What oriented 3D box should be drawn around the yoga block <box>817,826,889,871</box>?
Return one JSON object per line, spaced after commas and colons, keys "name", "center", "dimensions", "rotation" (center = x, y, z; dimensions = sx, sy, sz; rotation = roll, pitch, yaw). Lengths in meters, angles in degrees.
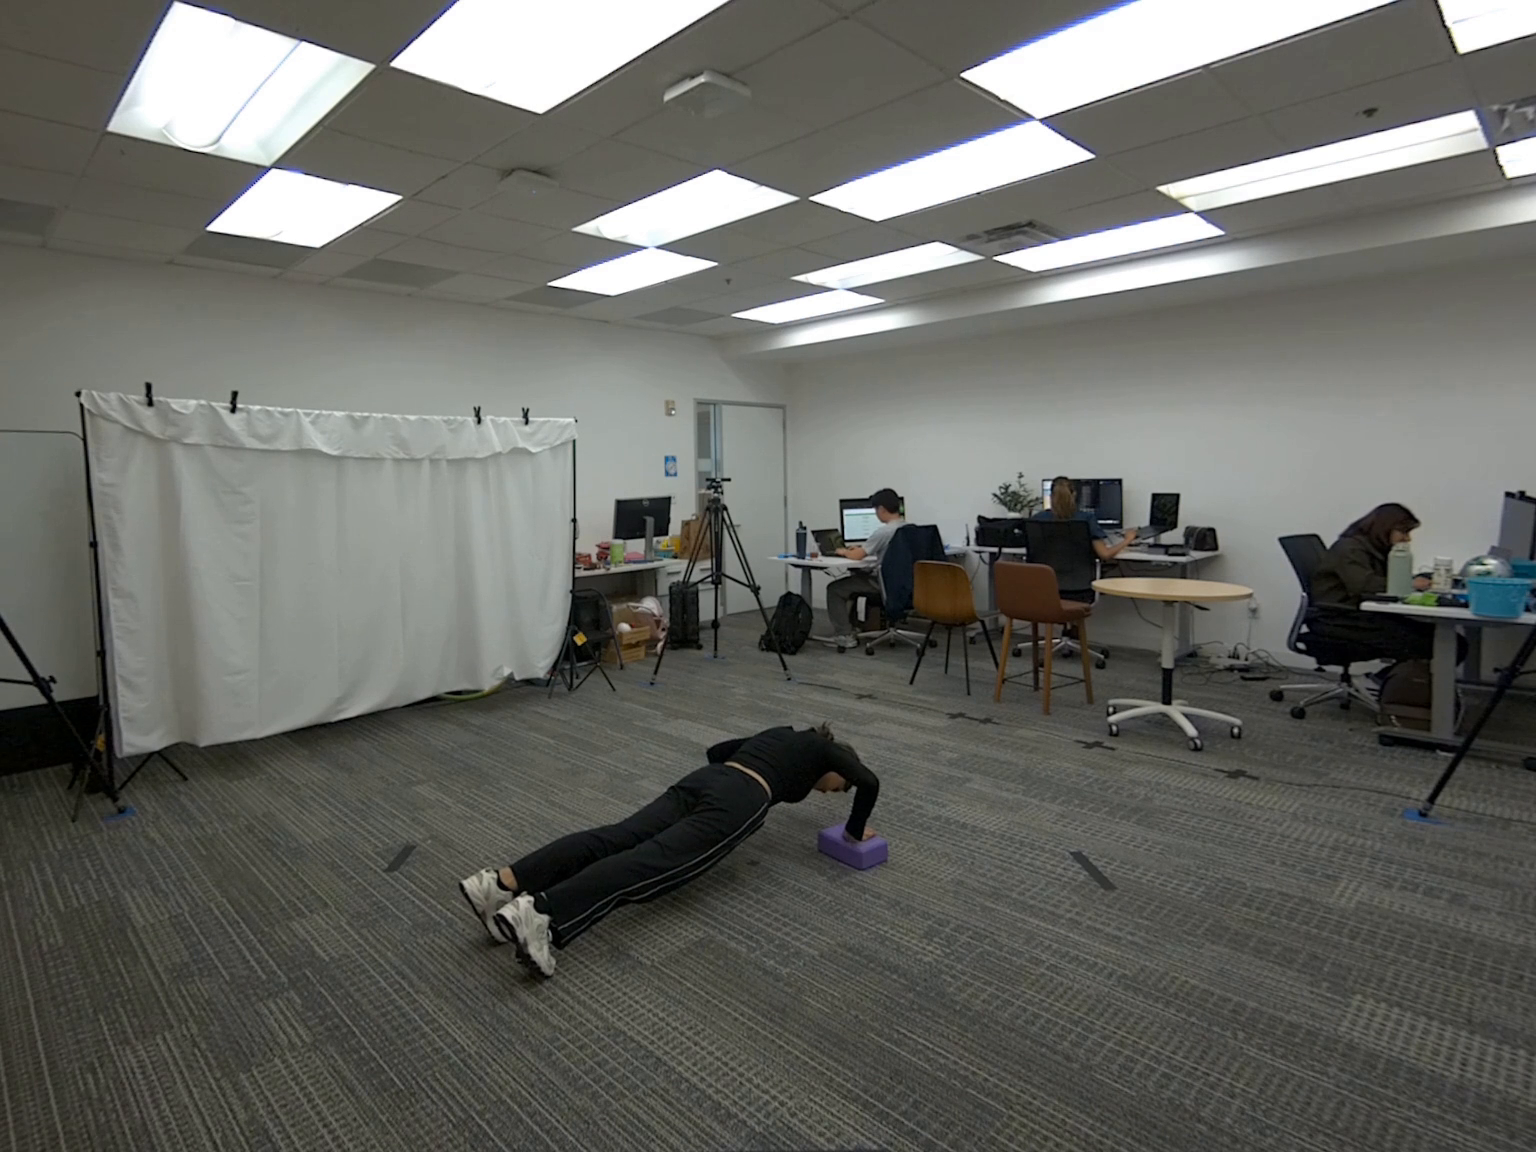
{"name": "yoga block", "center": [0.303, 0.993, 3.146], "dimensions": [0.145, 0.076, 0.236], "rotation": [-4, 7, -40]}
